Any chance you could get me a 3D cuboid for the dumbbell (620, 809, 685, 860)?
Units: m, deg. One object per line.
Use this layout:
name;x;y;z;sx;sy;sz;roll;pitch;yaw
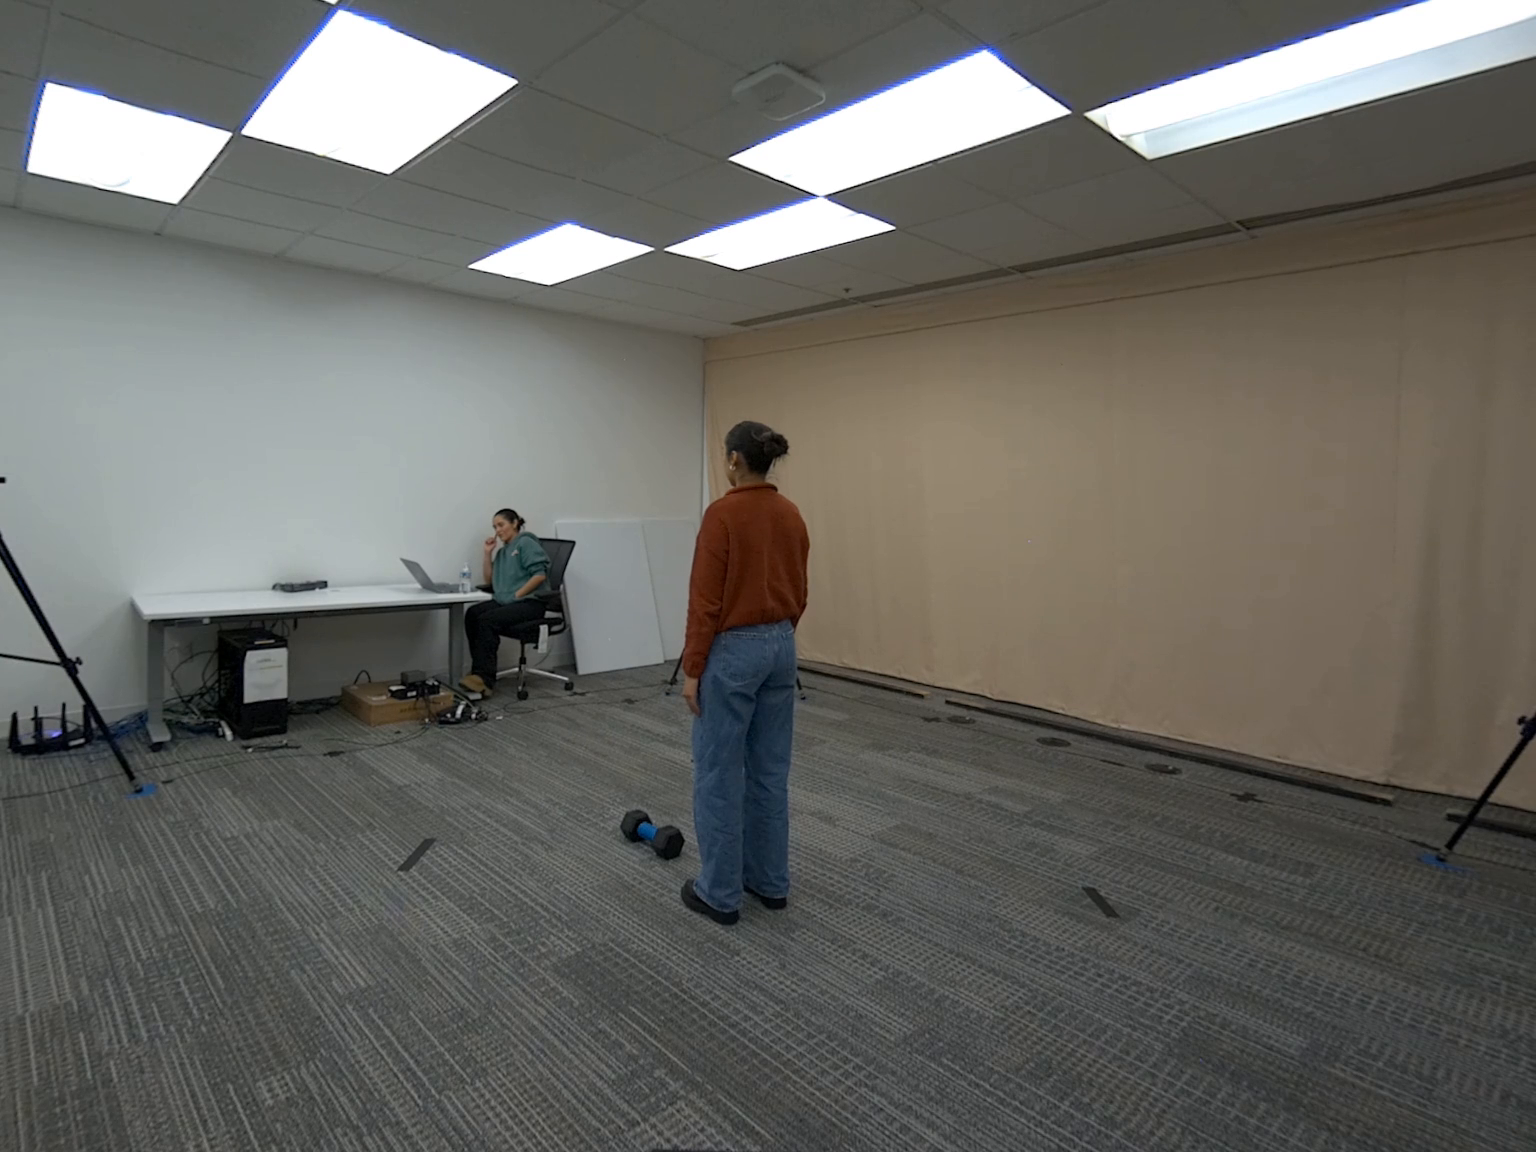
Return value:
dumbbell;-0.467;1.020;3.328;0.120;0.108;0.301;-3;7;-43
